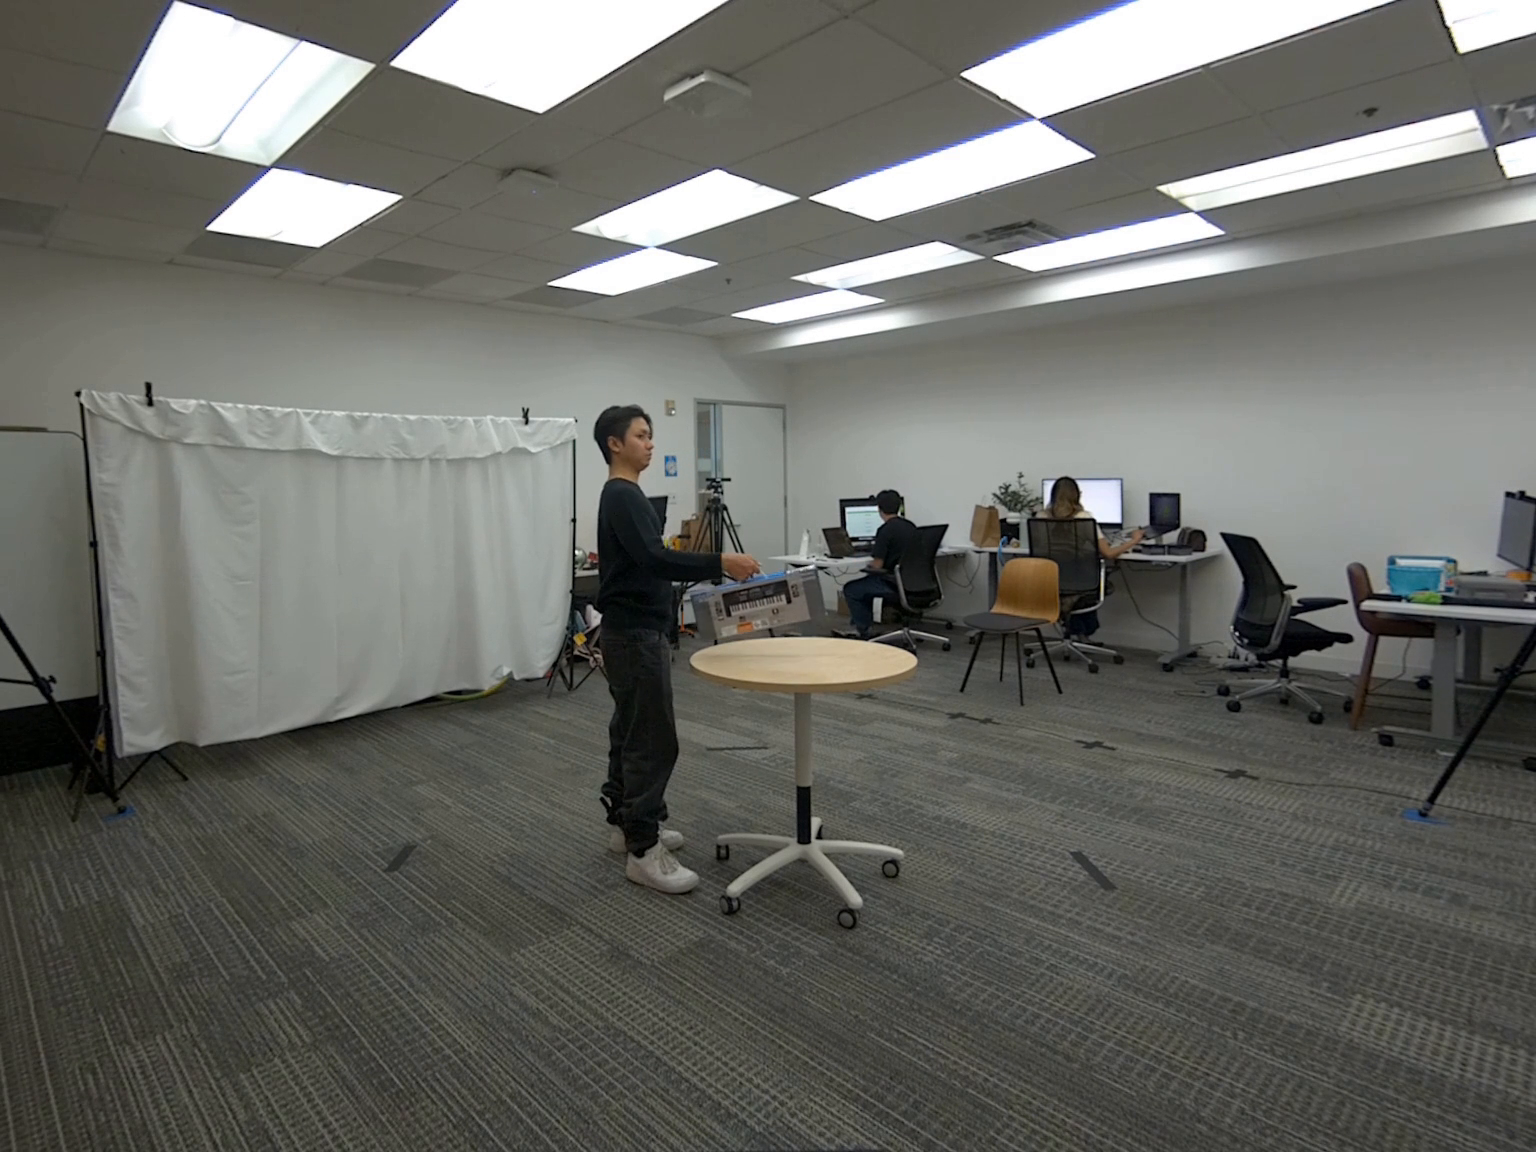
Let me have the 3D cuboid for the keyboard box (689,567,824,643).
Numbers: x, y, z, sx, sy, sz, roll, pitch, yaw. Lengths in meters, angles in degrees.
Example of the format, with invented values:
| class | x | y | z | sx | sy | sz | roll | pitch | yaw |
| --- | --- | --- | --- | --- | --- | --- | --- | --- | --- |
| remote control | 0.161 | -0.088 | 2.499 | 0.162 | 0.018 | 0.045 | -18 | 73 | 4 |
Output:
| class | x | y | z | sx | sy | sz | roll | pitch | yaw |
| --- | --- | --- | --- | --- | --- | --- | --- | --- | --- |
| keyboard box | -0.033 | 0.102 | 2.915 | 0.438 | 0.174 | 0.059 | -13 | 10 | 3 |
